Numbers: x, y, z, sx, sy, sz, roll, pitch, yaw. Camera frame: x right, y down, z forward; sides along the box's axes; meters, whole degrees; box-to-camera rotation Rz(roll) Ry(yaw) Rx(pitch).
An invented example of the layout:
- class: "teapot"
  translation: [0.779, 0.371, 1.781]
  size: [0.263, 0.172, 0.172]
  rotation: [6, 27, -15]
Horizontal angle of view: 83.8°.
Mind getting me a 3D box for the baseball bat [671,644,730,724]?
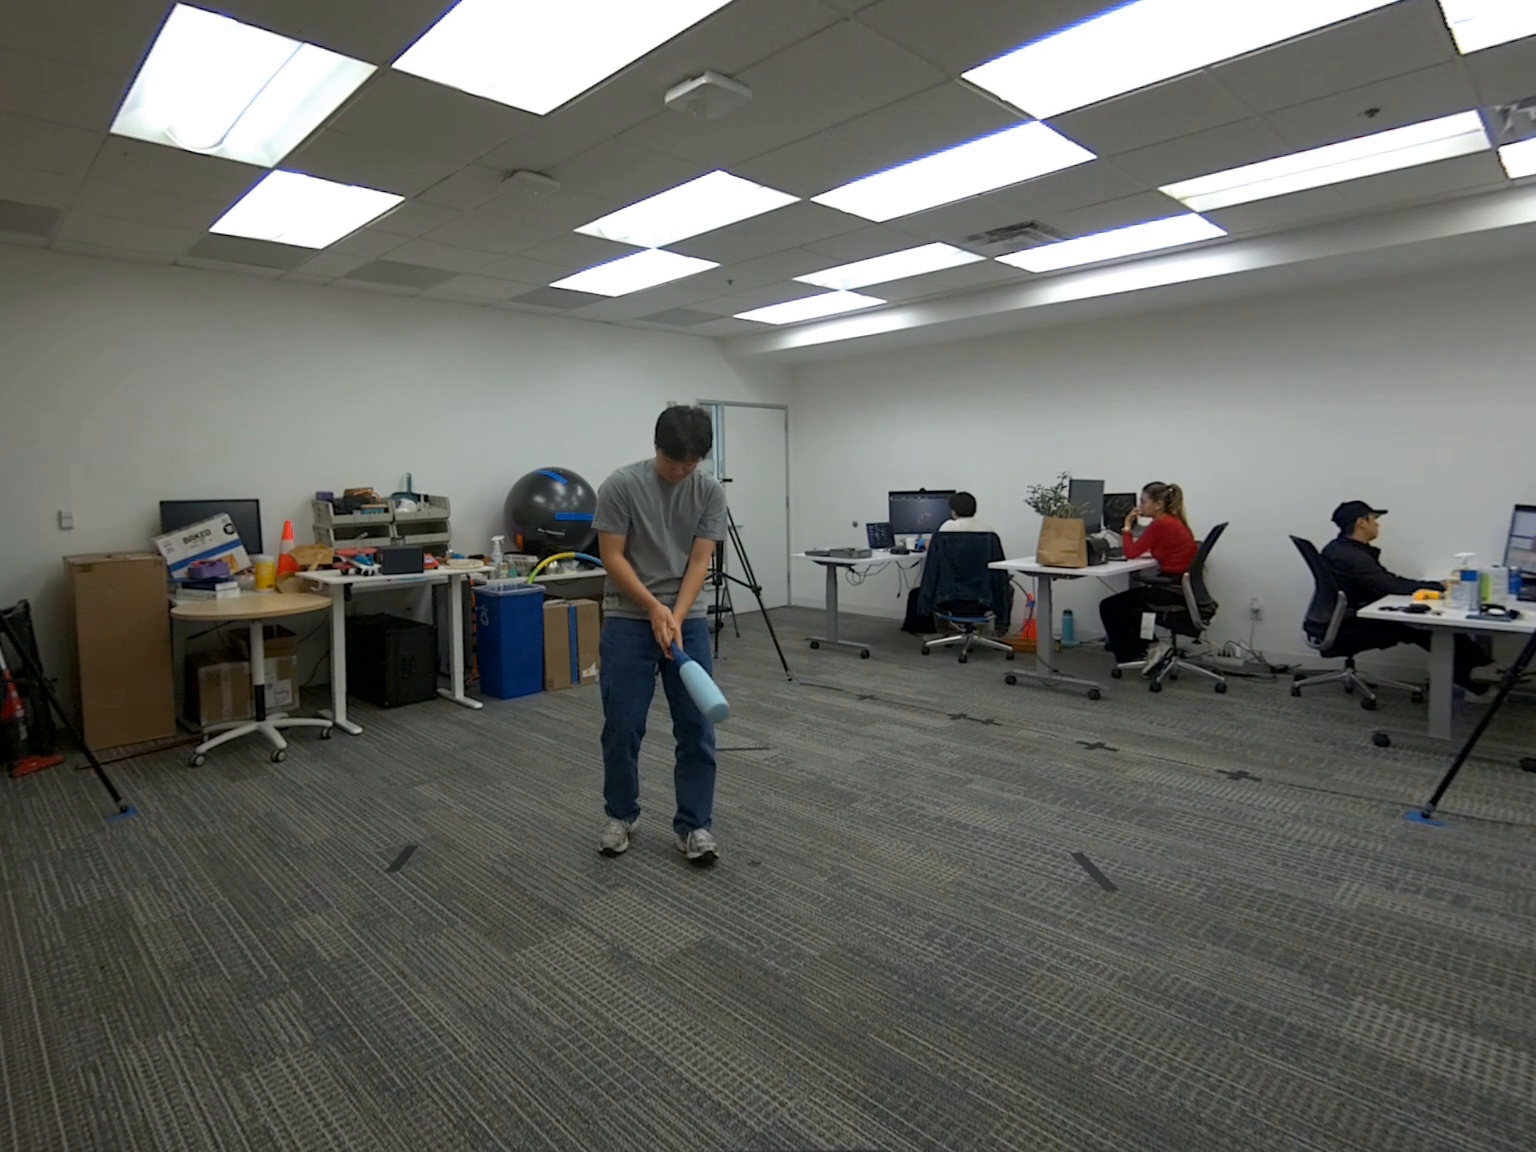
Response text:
- class: "baseball bat"
  translation: [-0.286, 0.306, 2.891]
  size: [0.087, 0.087, 0.564]
  rotation: [-4, 28, -29]
